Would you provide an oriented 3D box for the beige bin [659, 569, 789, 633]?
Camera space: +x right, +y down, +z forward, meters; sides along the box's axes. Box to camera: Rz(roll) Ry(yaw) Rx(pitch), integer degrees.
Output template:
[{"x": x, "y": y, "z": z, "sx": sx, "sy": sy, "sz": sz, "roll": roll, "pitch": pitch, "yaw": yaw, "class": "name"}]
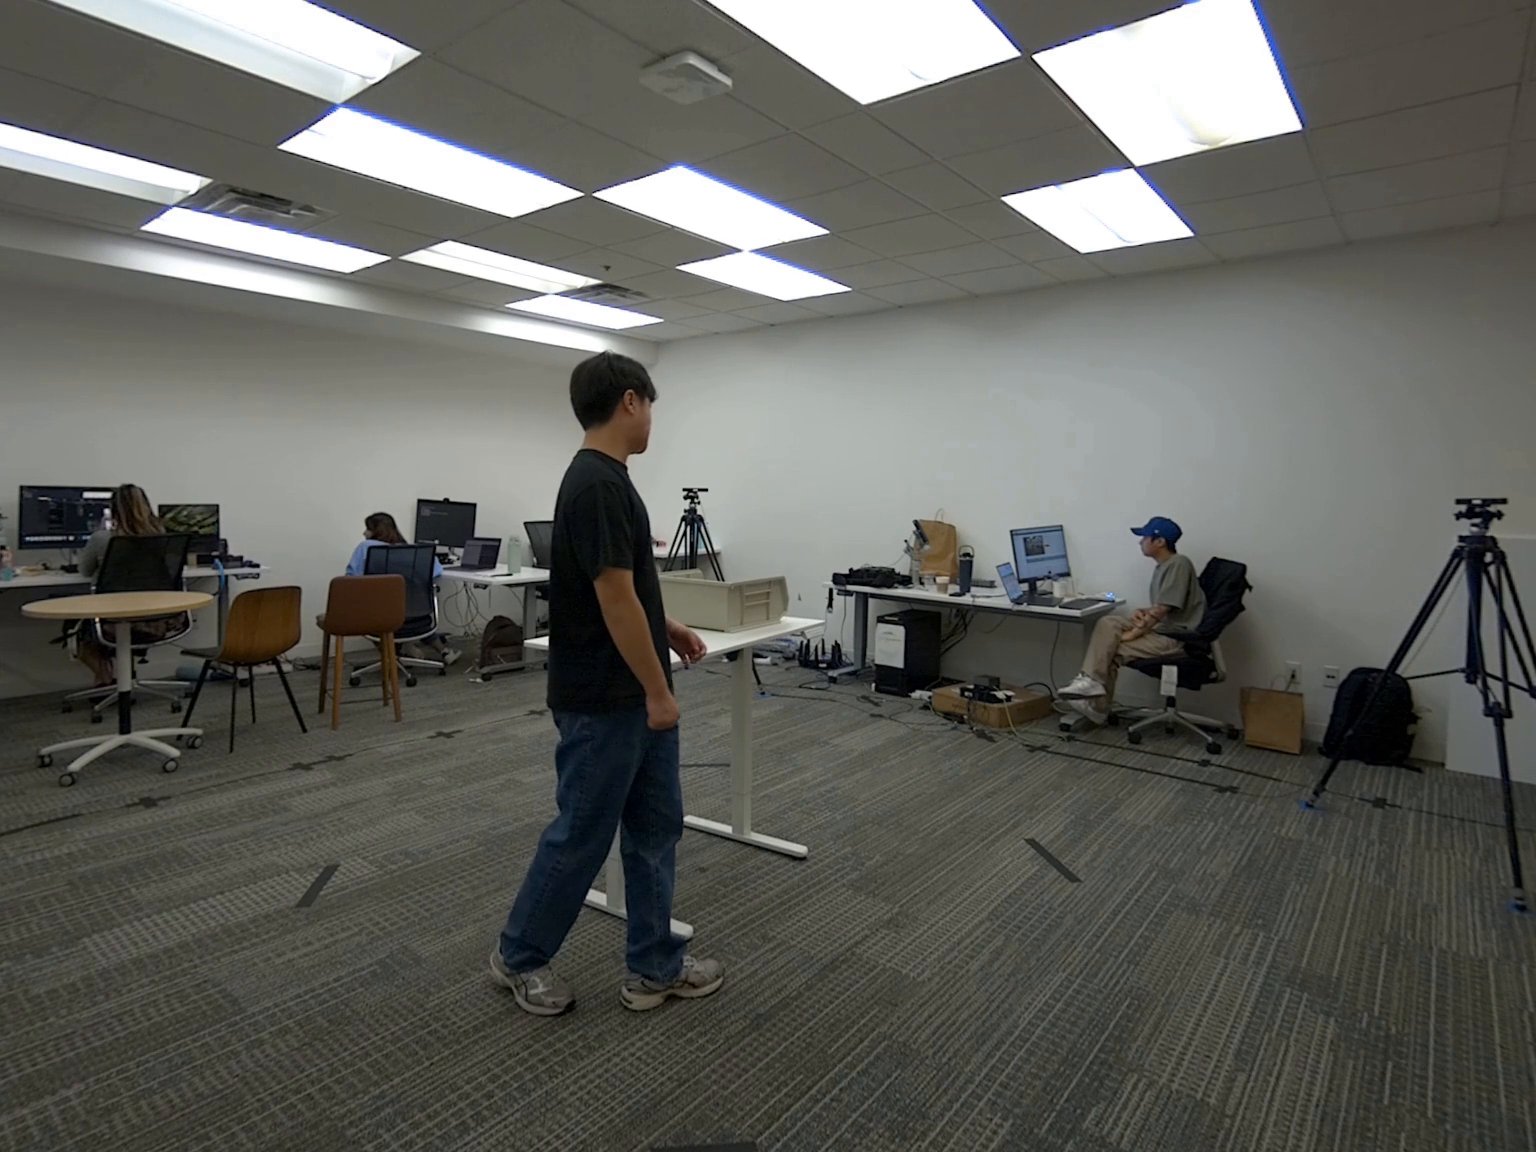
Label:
[{"x": -0.205, "y": 0.085, "z": 3.234, "sx": 0.436, "sy": 0.188, "sz": 0.367, "roll": 5, "pitch": 8, "yaw": 37, "class": "beige bin"}]
